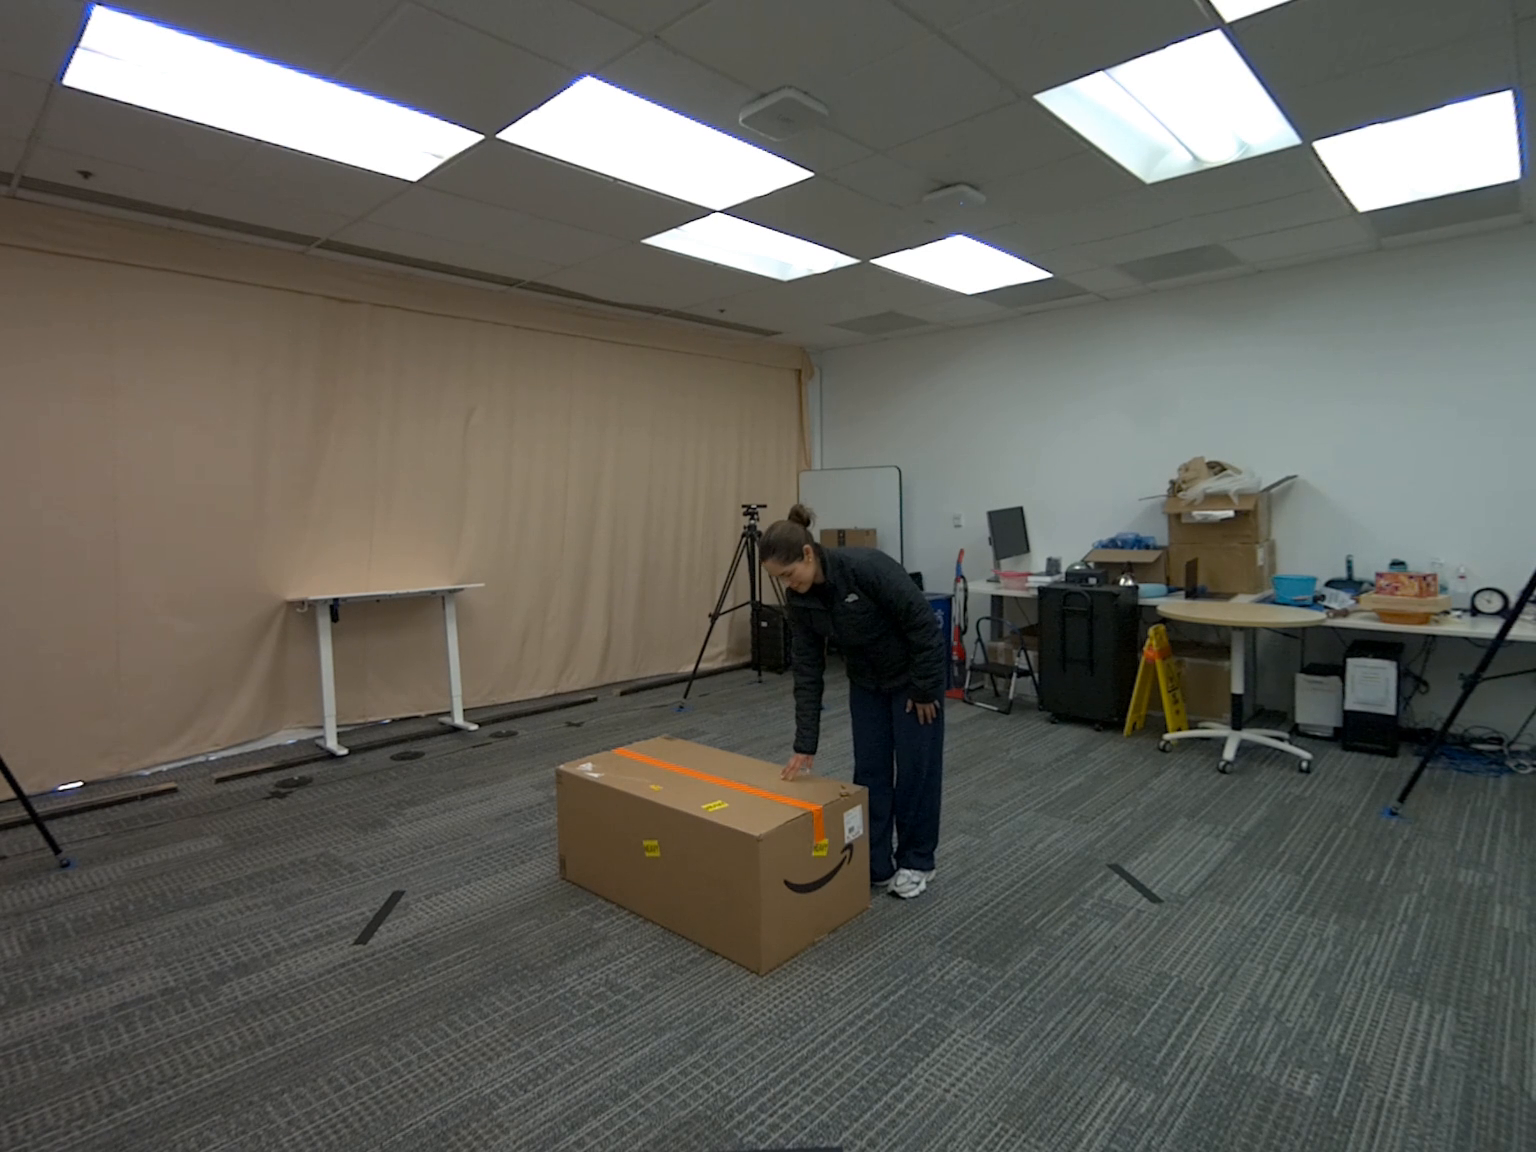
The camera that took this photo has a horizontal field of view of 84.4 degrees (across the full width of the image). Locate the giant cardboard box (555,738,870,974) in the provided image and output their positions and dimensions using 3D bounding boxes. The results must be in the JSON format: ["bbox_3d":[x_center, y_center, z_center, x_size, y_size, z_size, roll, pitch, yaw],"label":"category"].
[{"bbox_3d":[-0.211,0.931,3.029,1.061,0.446,0.566,2,4,42],"label":"giant cardboard box"}]
